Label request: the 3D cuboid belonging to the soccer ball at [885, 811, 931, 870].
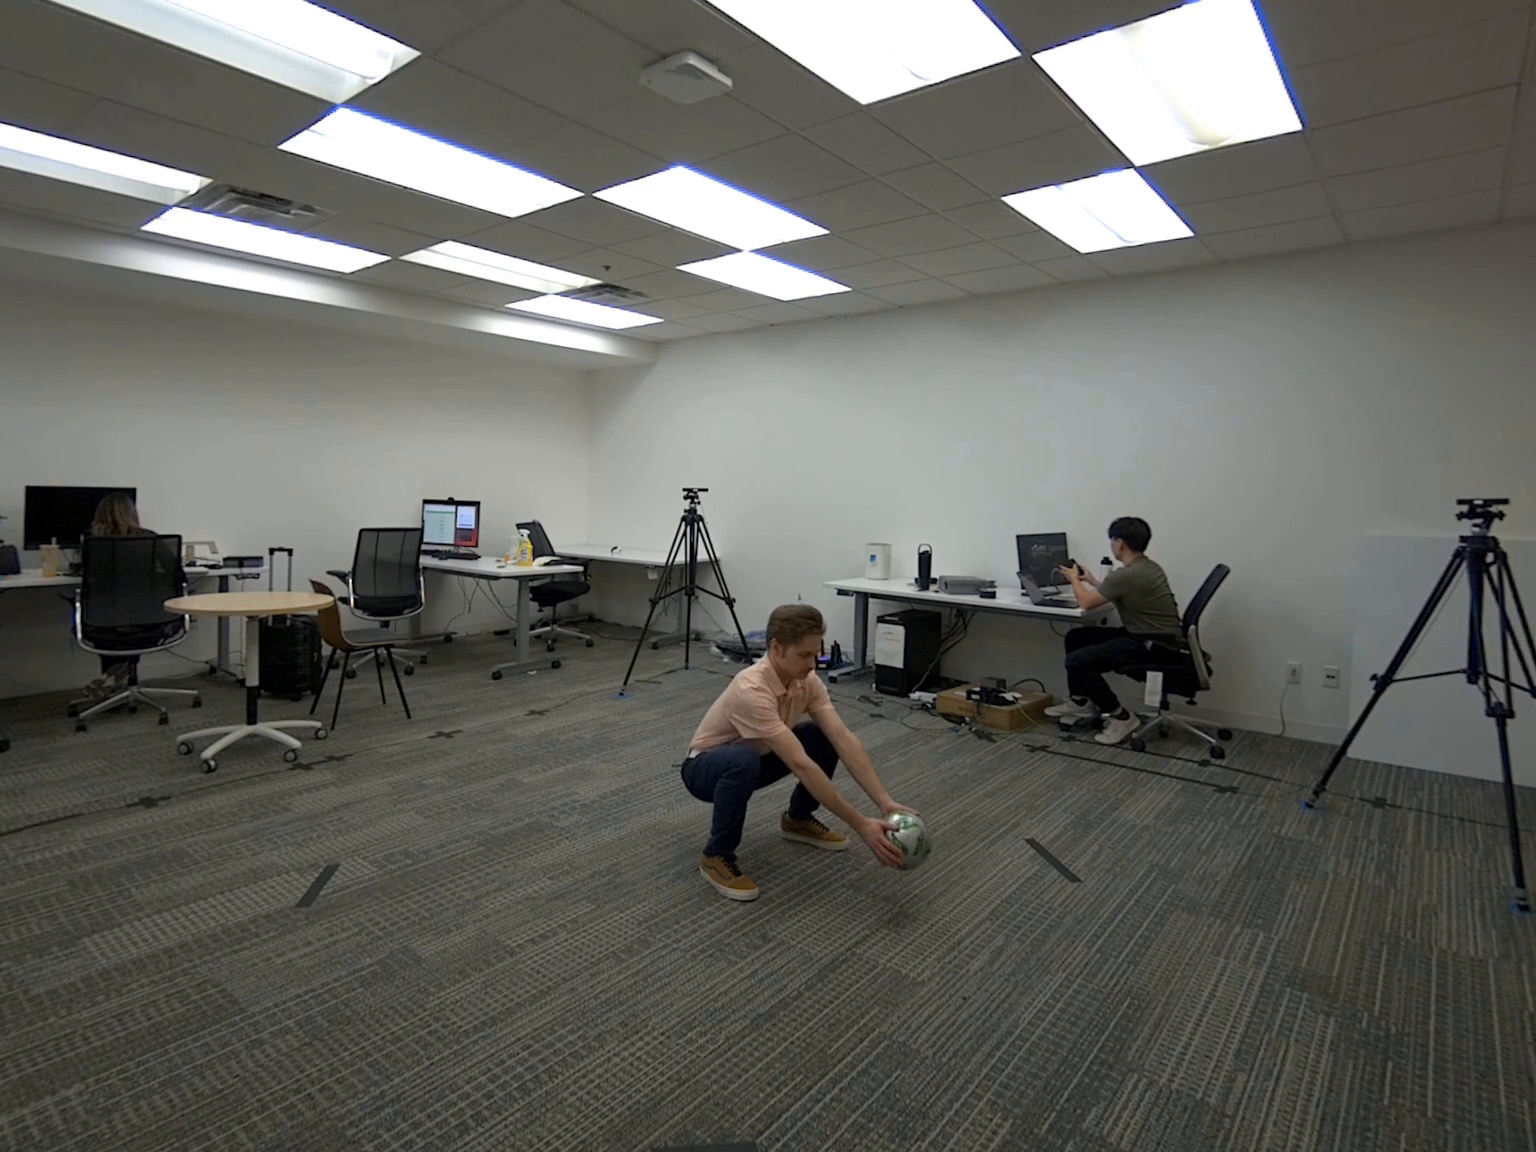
[{"bbox_3d":[0.437,0.880,2.841,0.187,0.187,0.188,1,4,-2],"label":"soccer ball"}]
